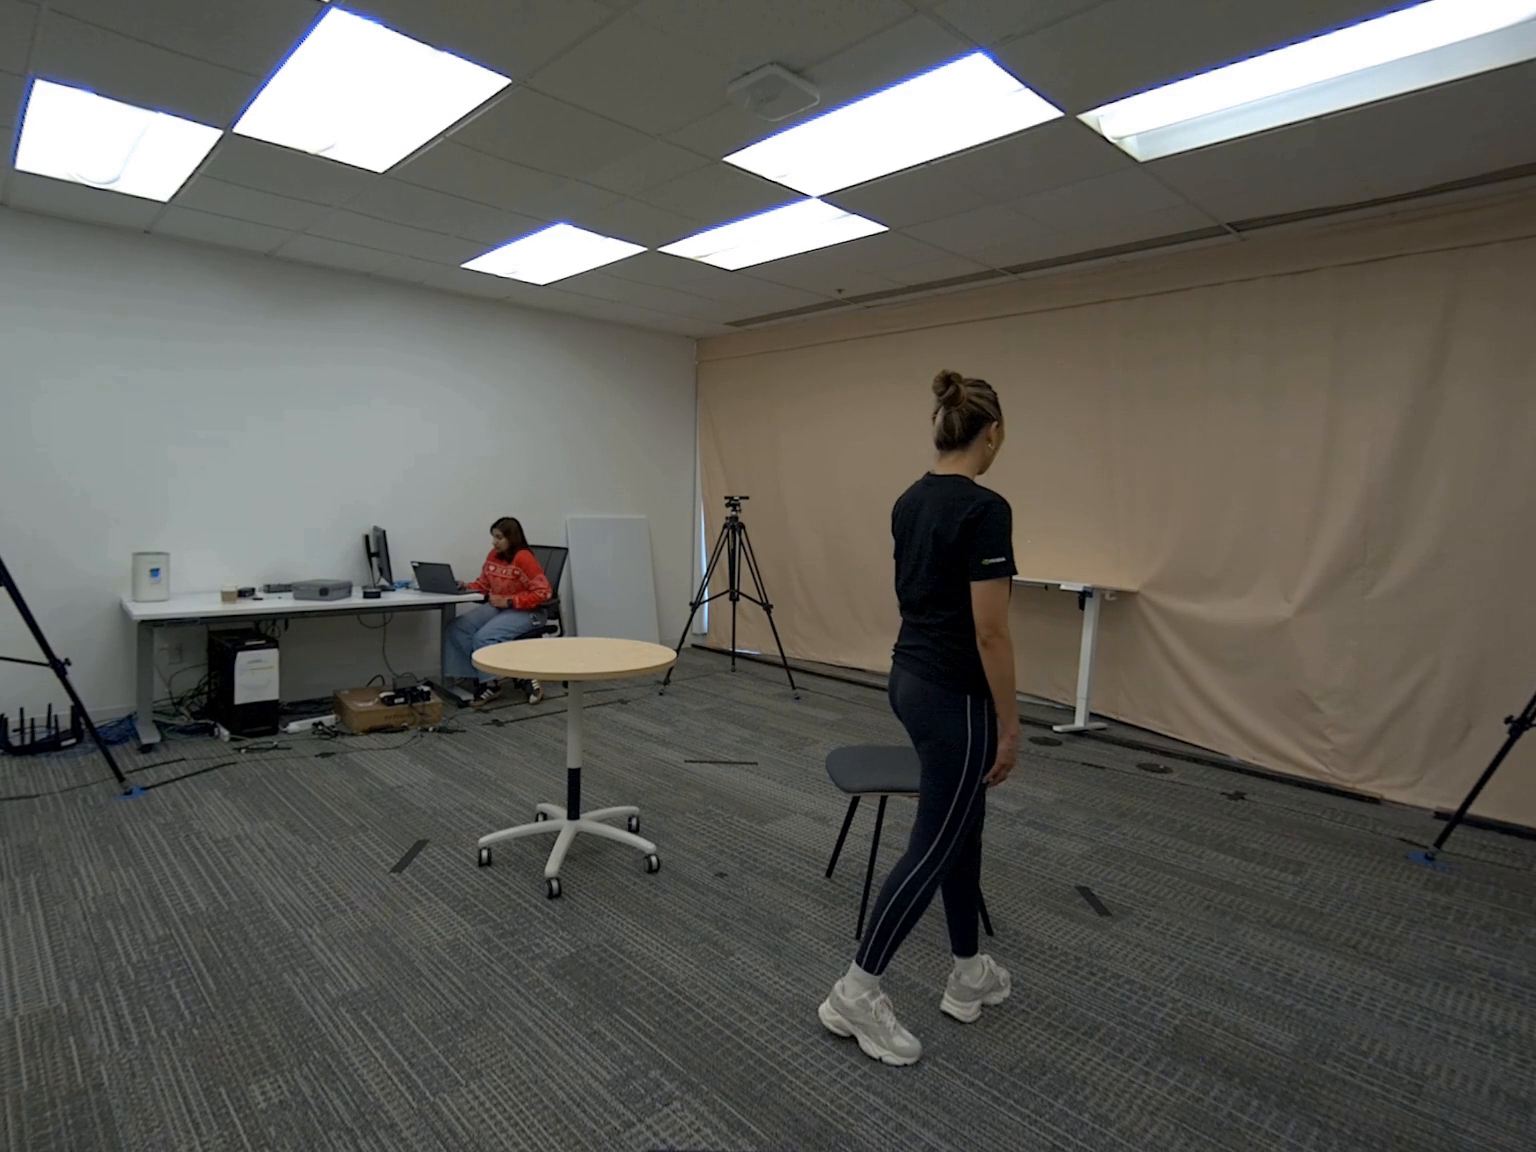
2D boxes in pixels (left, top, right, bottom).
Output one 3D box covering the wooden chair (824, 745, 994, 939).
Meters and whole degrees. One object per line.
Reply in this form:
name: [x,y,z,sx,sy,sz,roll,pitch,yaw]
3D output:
wooden chair: [0.471,0.713,2.874,0.520,0.875,0.482,5,4,-8]
